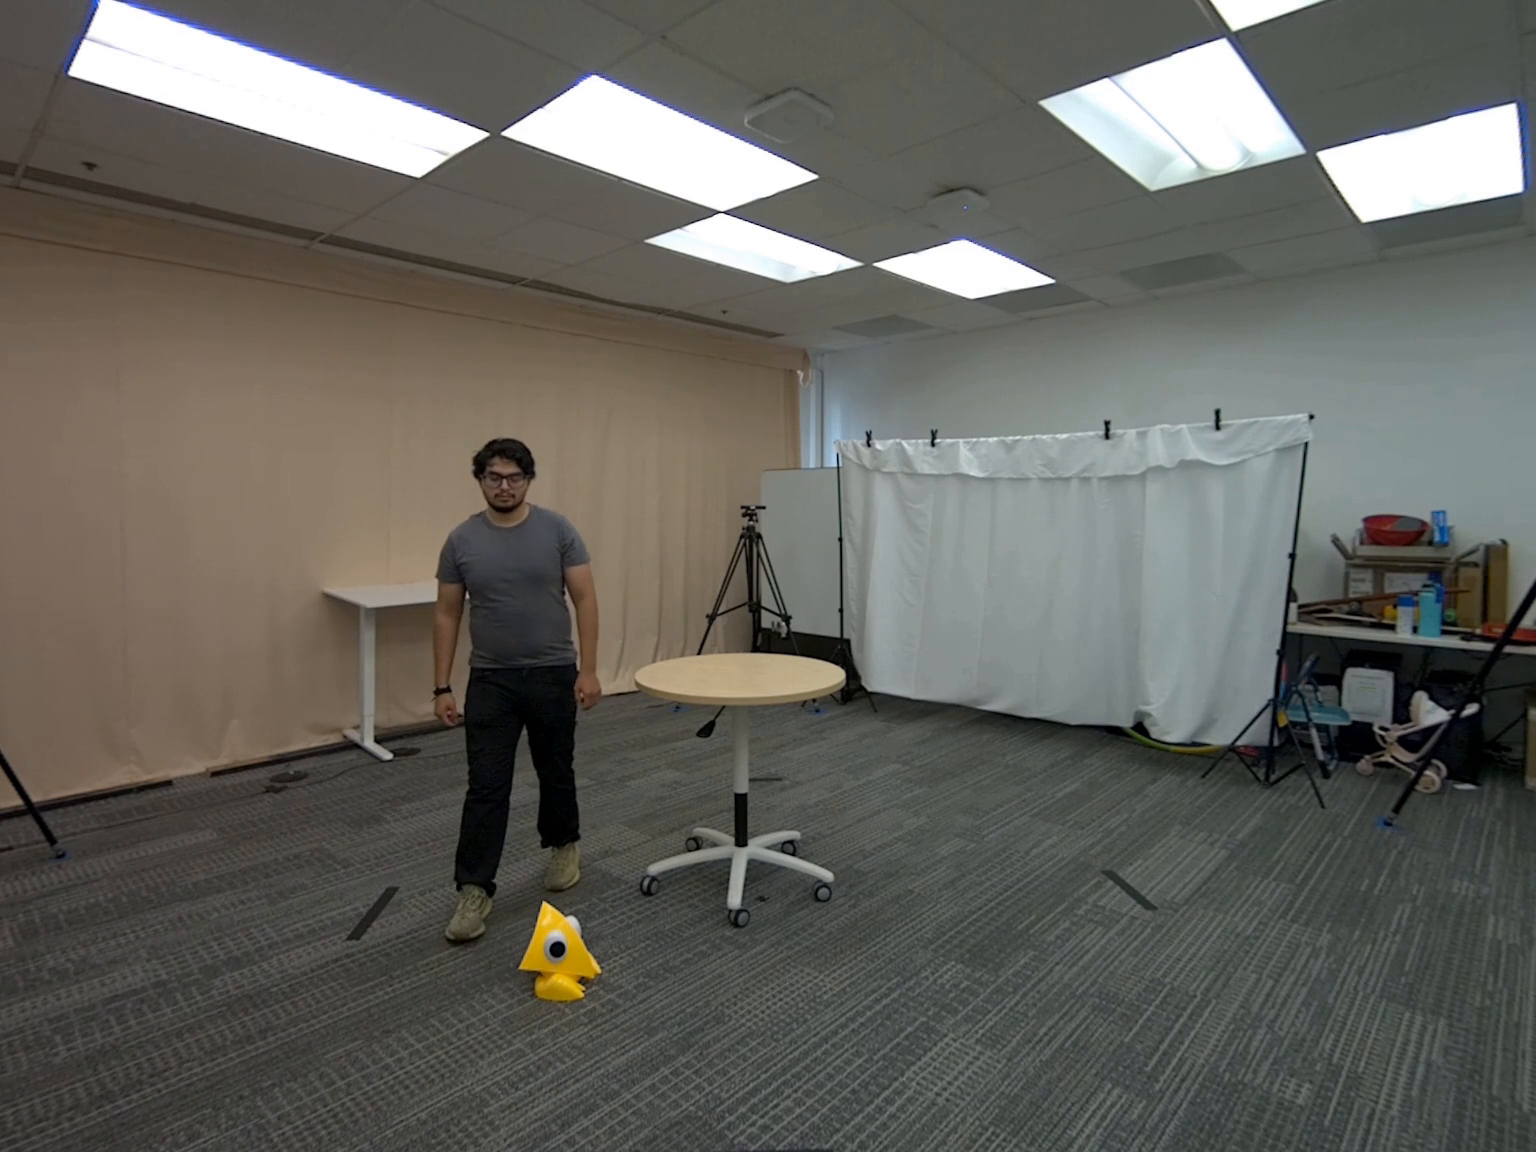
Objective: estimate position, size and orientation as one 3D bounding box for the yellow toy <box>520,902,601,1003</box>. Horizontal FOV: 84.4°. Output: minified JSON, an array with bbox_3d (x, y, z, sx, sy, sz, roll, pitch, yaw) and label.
[{"bbox_3d":[-0.600,1.079,2.464,0.196,0.230,0.202,-1,3,13],"label":"yellow toy"}]
